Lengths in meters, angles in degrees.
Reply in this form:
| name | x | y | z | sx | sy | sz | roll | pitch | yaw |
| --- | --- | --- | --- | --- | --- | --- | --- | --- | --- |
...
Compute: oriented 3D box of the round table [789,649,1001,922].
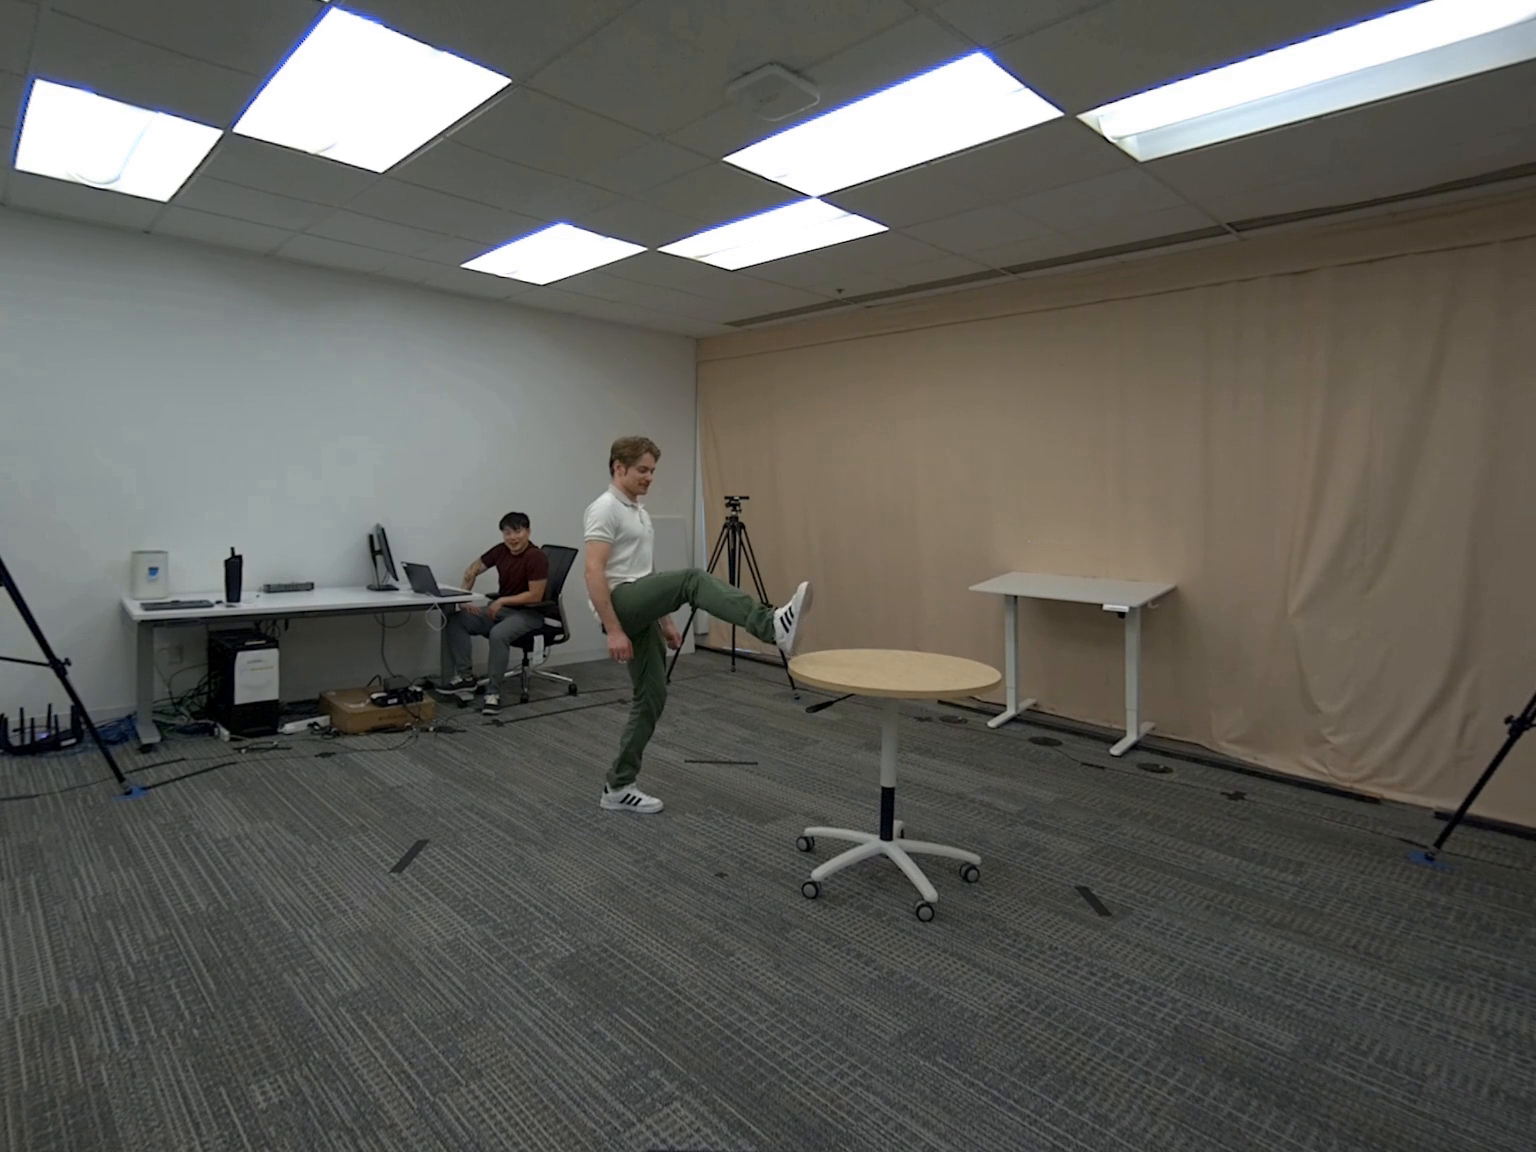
| name | x | y | z | sx | sy | sz | roll | pitch | yaw |
| --- | --- | --- | --- | --- | --- | --- | --- | --- | --- |
| round table | 0.437 | 0.730 | 3.104 | 0.763 | 0.792 | 0.766 | 2 | 4 | -1 |
